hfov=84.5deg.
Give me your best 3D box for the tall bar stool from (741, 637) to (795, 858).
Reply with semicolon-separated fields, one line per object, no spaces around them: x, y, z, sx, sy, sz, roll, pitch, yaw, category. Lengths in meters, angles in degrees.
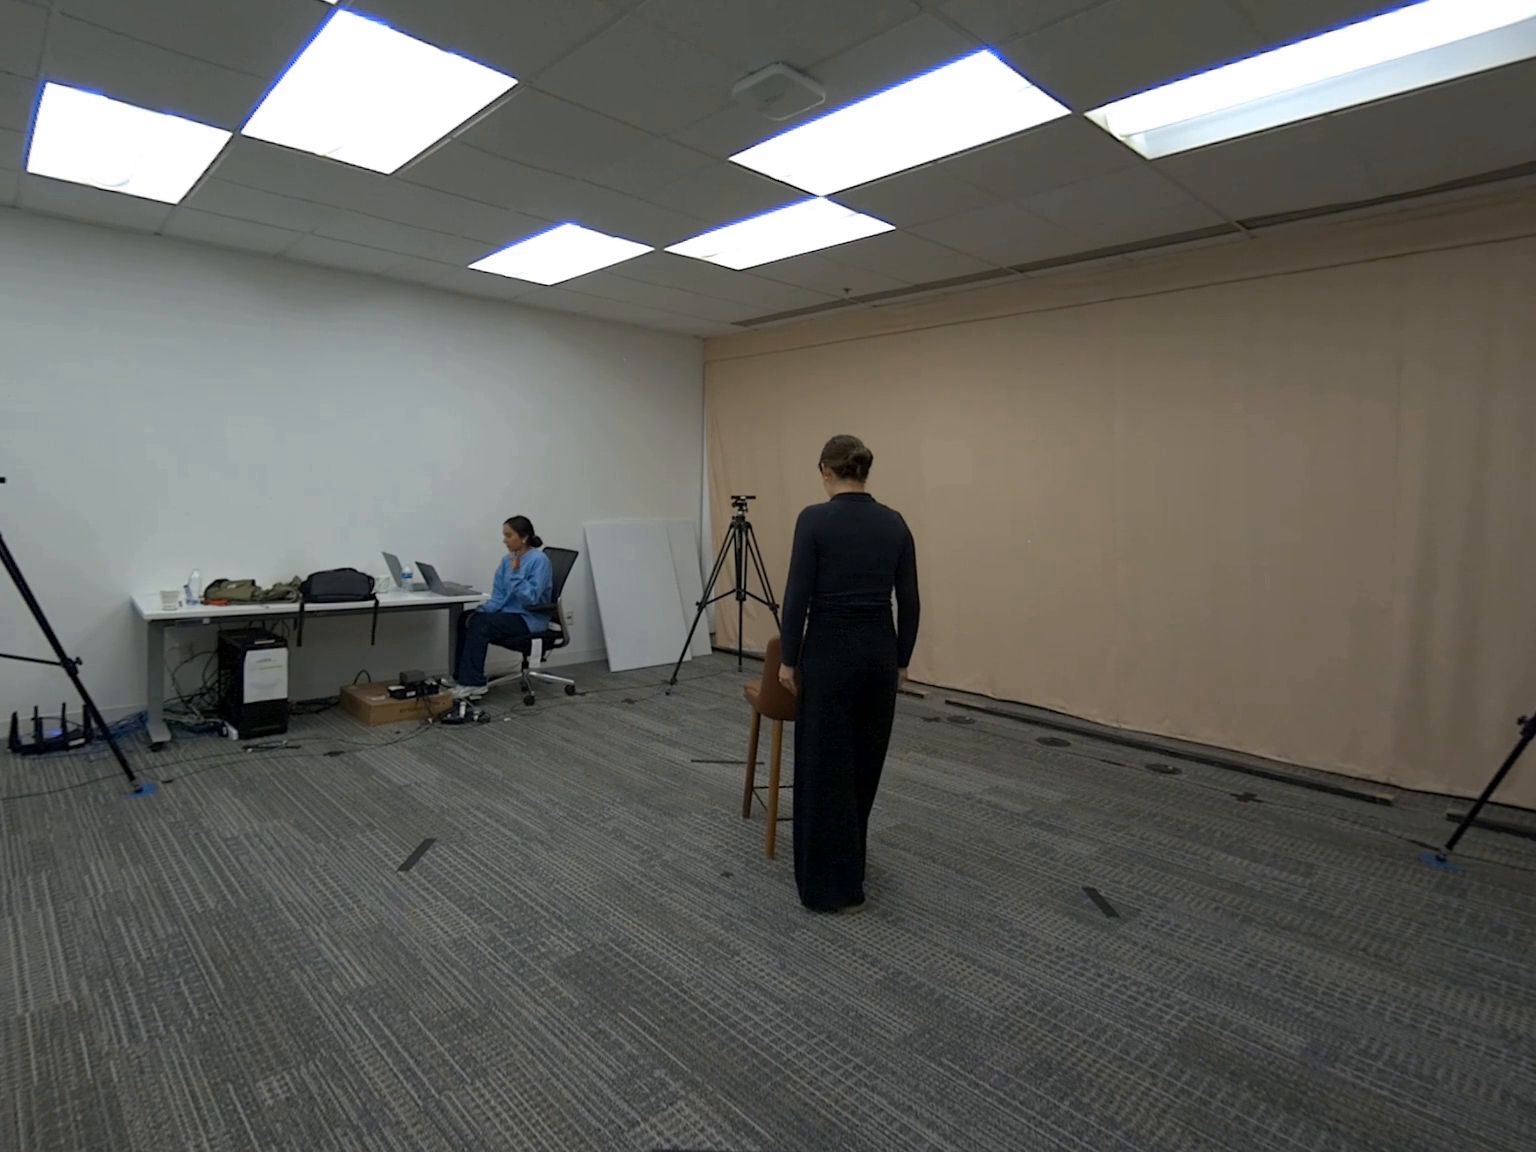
0.140;0.637;3.458;0.453;0.886;0.473;1;6;-11;tall bar stool
